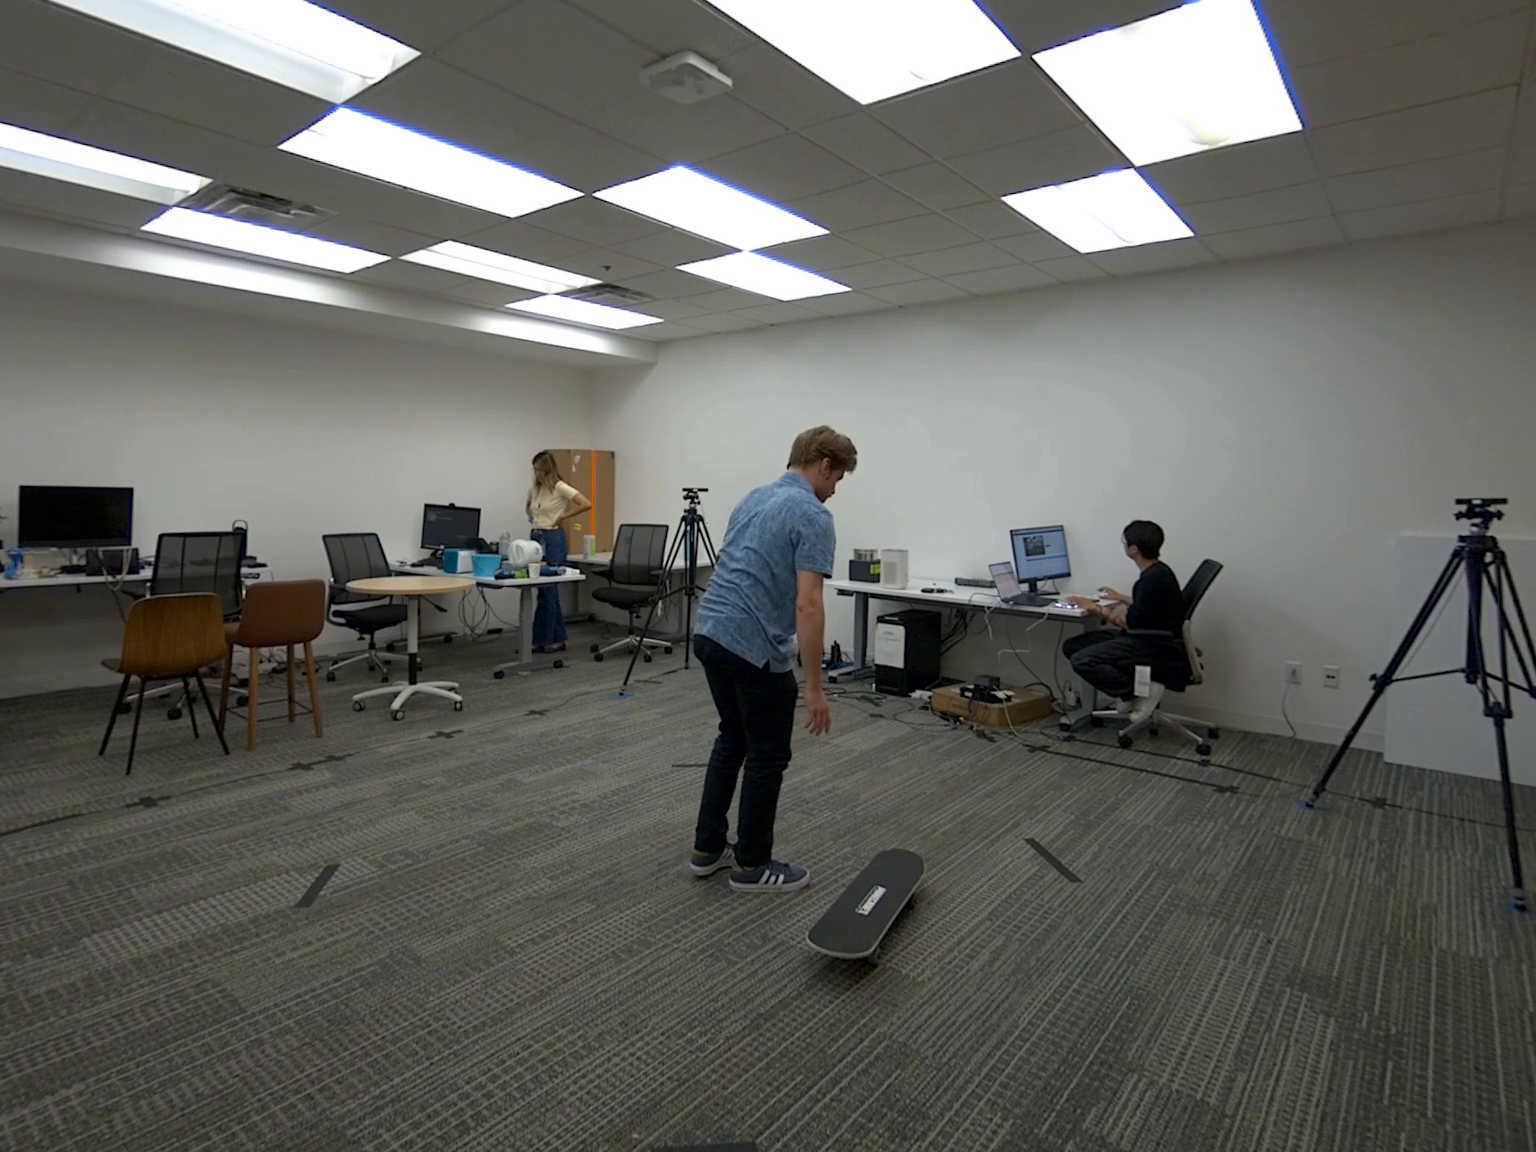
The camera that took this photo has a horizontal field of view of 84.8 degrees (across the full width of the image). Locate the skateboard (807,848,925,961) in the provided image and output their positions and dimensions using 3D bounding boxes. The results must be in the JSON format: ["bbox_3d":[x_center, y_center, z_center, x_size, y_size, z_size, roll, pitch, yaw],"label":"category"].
[{"bbox_3d":[0.328,1.067,2.720,0.199,0.110,0.768,4,6,25],"label":"skateboard"}]
